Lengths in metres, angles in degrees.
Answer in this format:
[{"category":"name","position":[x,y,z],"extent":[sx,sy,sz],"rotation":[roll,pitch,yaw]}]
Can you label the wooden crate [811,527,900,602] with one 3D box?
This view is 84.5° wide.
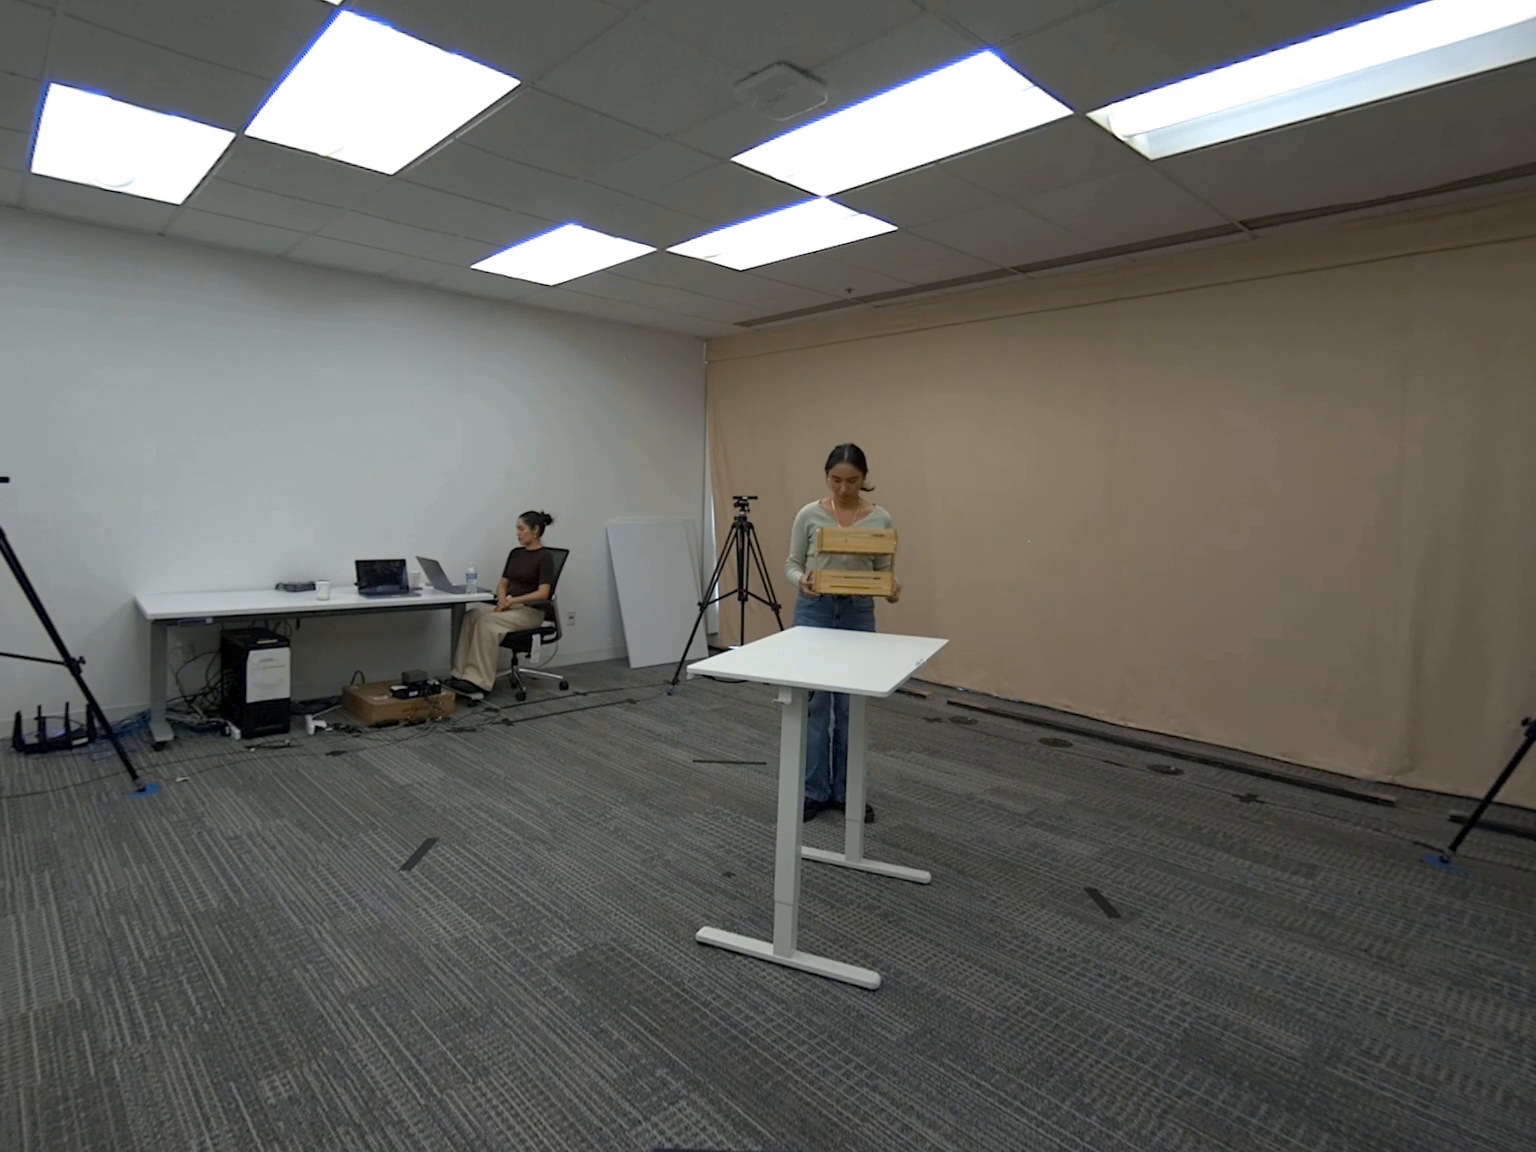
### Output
[{"category":"wooden crate","position":[0.343,-0.060,3.475],"extent":[0.324,0.274,0.302],"rotation":[3,-1,-1]}]
